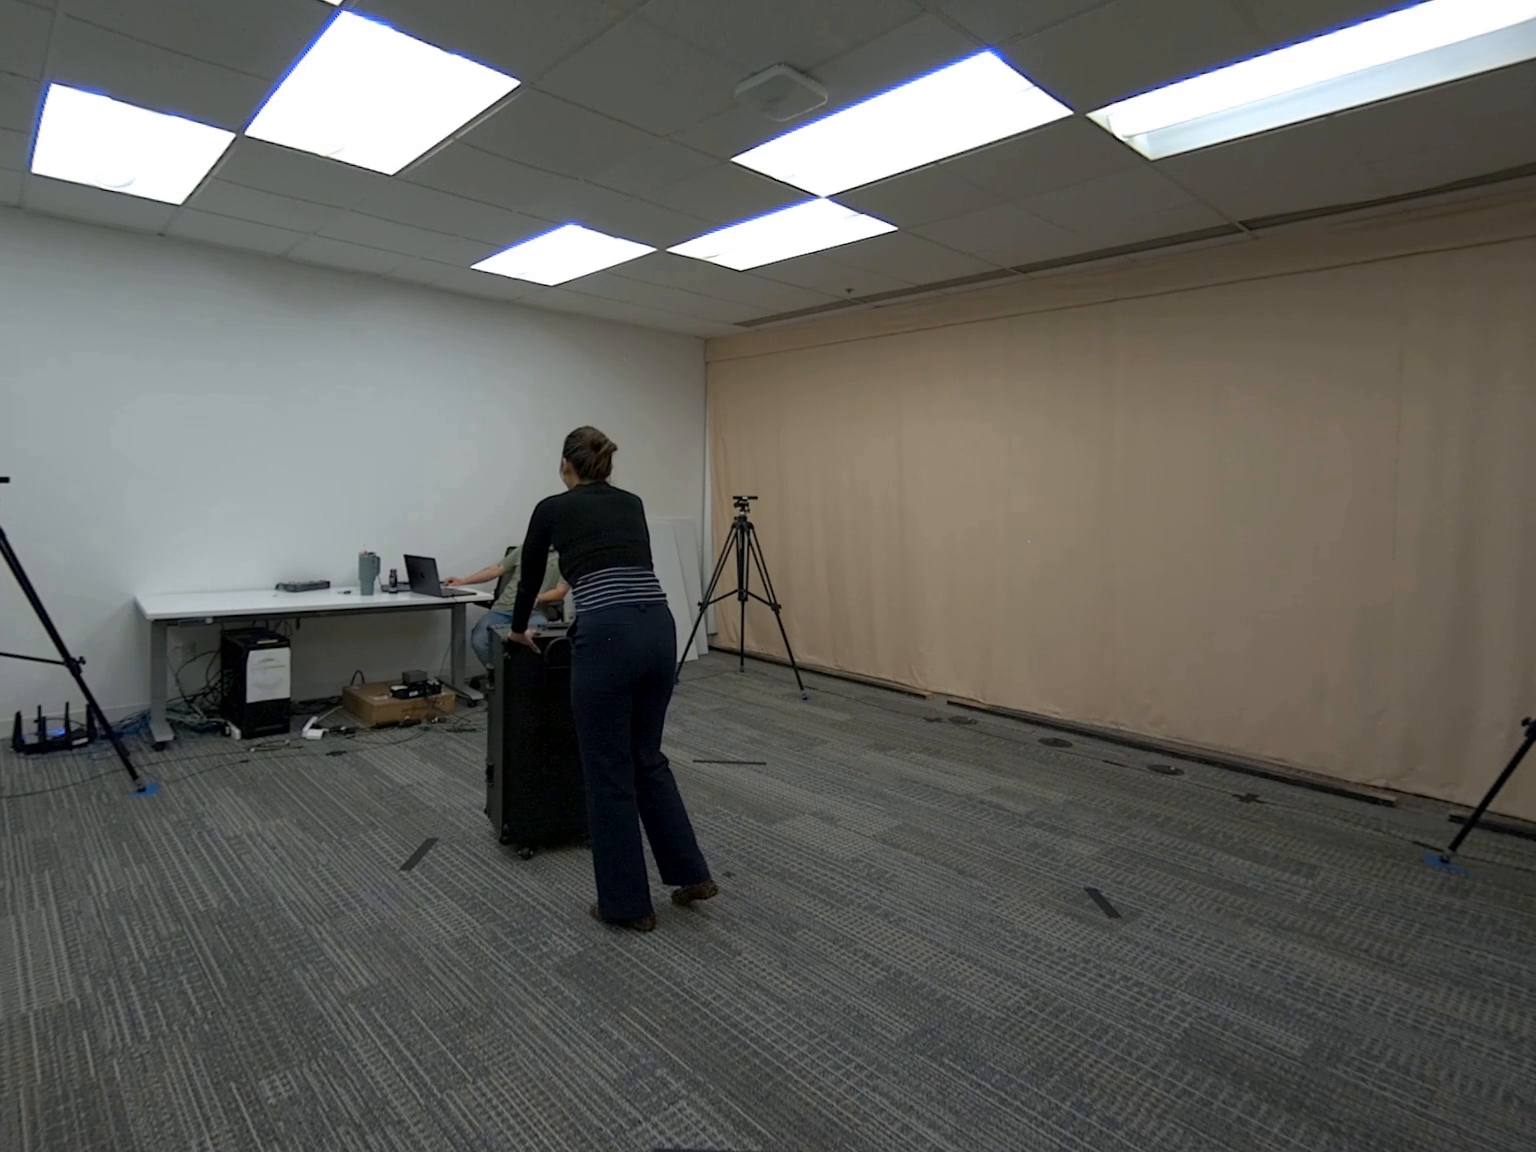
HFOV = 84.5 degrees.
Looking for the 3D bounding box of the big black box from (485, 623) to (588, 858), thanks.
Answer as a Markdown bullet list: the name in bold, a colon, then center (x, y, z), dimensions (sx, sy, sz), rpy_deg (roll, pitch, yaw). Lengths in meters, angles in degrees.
- **big black box**: center (-0.858, 0.636, 3.378), dimensions (0.511, 0.859, 0.405), rpy_deg (0, 4, -26)
